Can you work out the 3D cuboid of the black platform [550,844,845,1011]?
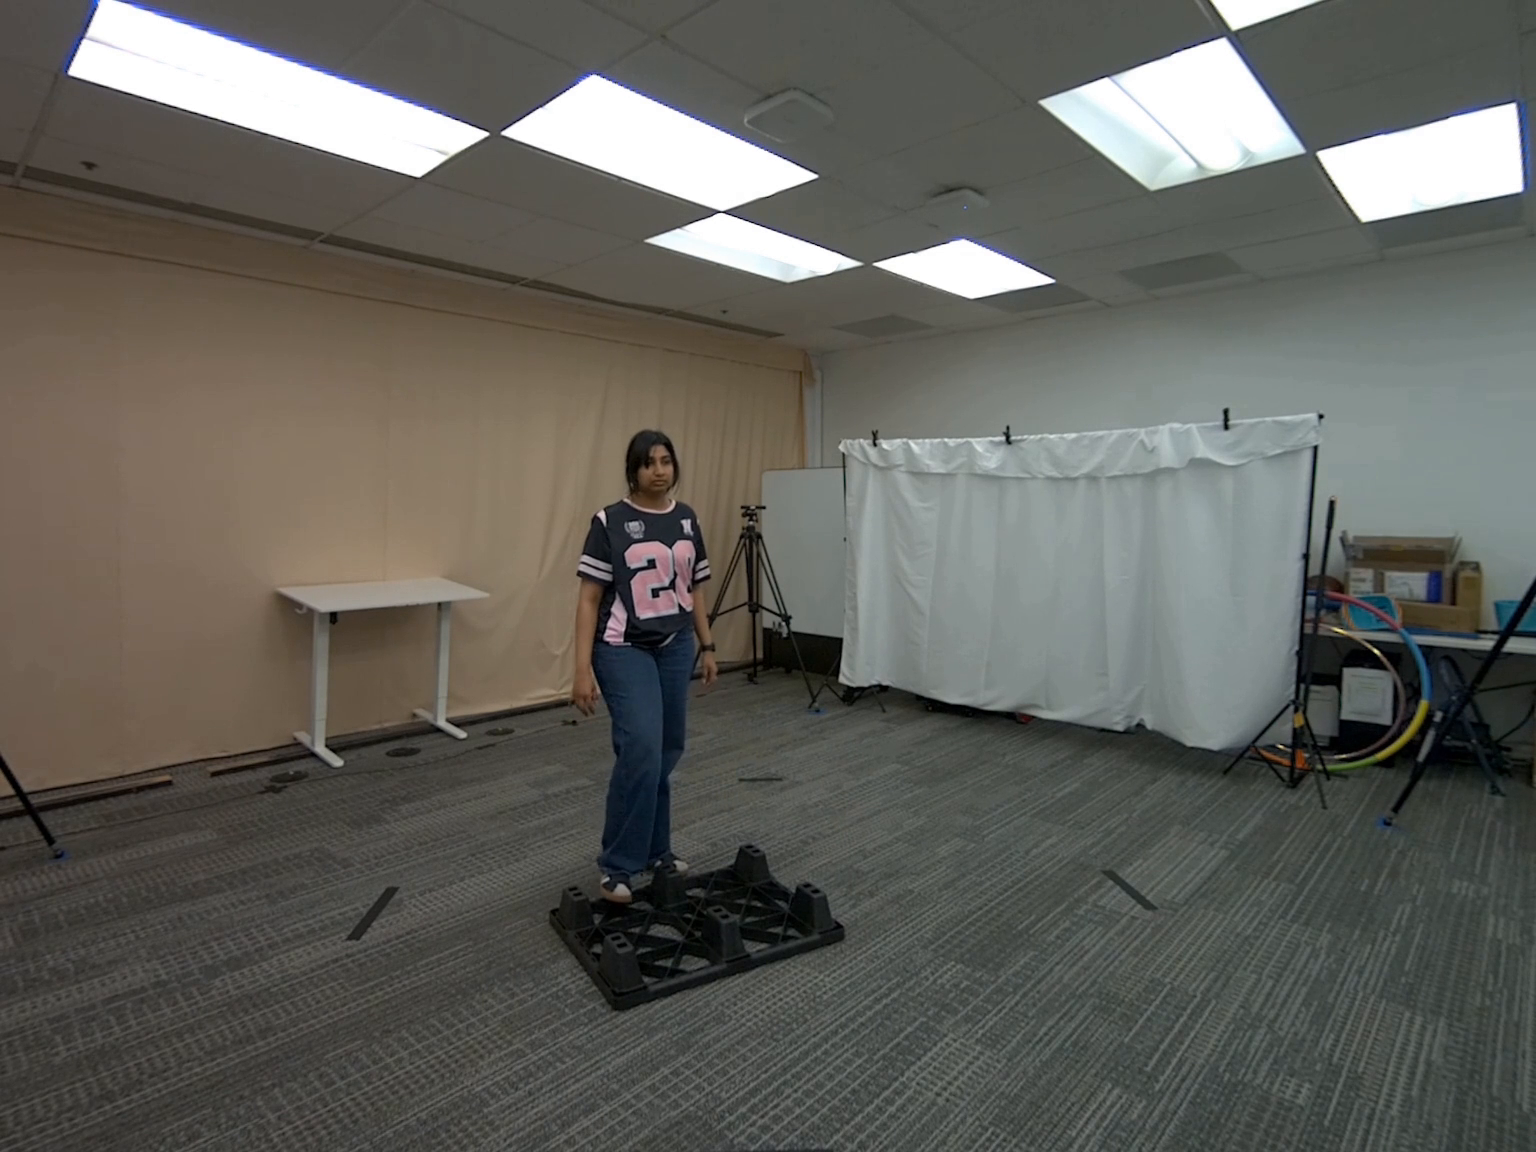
[{"bbox_3d":[-0.238,1.098,2.766,0.784,0.143,0.623,-3,6,-31],"label":"black platform"}]
